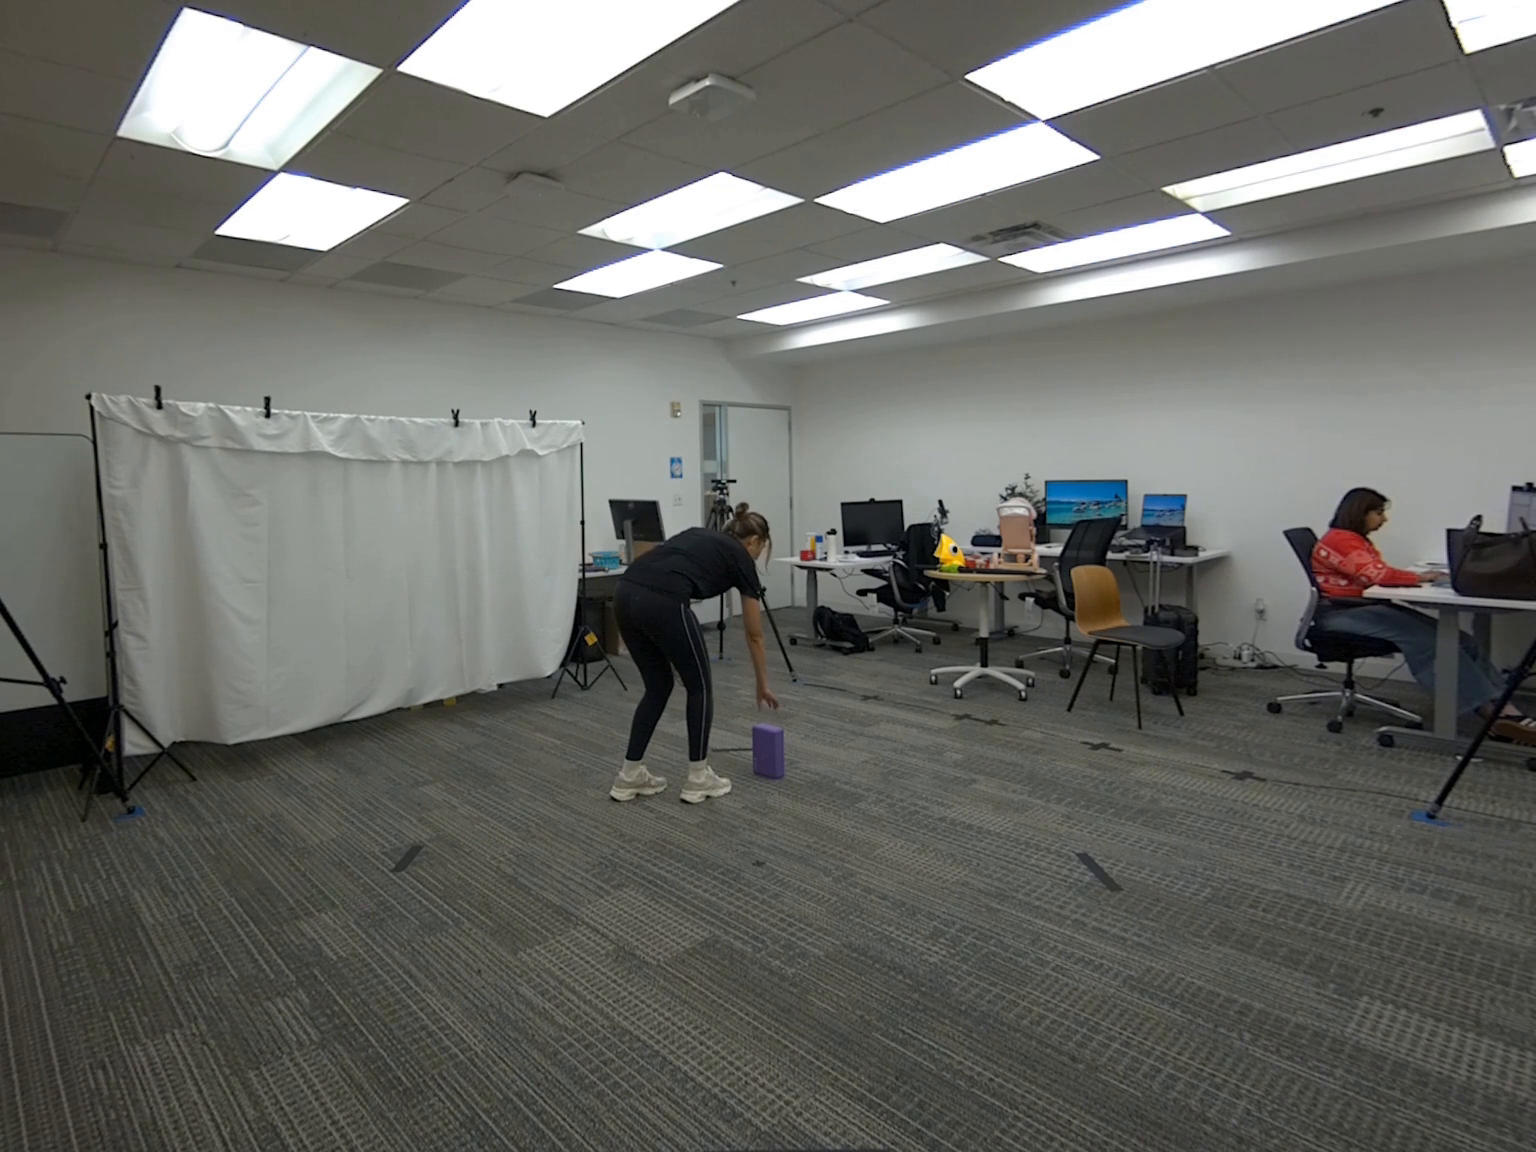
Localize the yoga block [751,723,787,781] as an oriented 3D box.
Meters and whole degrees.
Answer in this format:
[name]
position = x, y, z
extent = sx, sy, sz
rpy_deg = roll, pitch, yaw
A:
[yoga block]
position = 0.001, 0.827, 4.051
extent = 0.153, 0.228, 0.074
rpy_deg = 4, 7, 43
